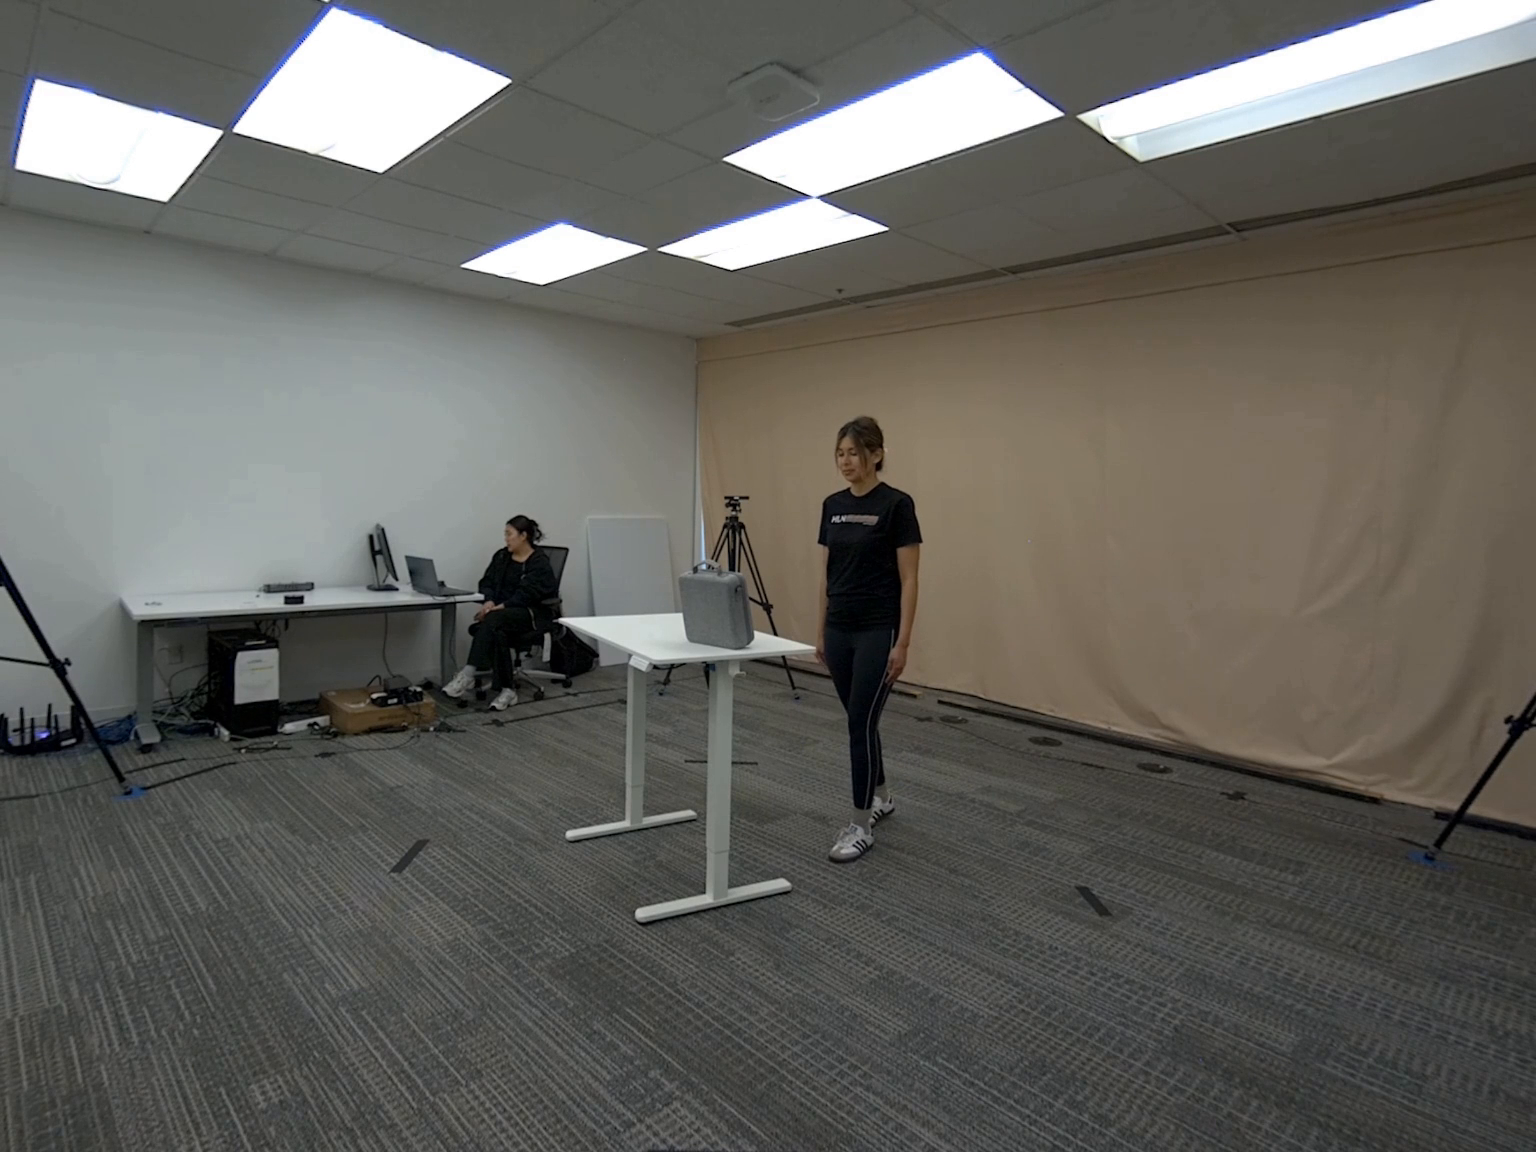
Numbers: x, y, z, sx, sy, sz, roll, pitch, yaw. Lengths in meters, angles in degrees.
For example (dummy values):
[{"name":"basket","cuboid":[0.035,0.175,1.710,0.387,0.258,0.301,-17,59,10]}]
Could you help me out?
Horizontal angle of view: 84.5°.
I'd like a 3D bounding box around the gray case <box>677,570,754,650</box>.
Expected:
[{"name":"gray case","cuboid":[-0.184,0.108,2.864,0.263,0.258,0.103,3,16,43]}]
